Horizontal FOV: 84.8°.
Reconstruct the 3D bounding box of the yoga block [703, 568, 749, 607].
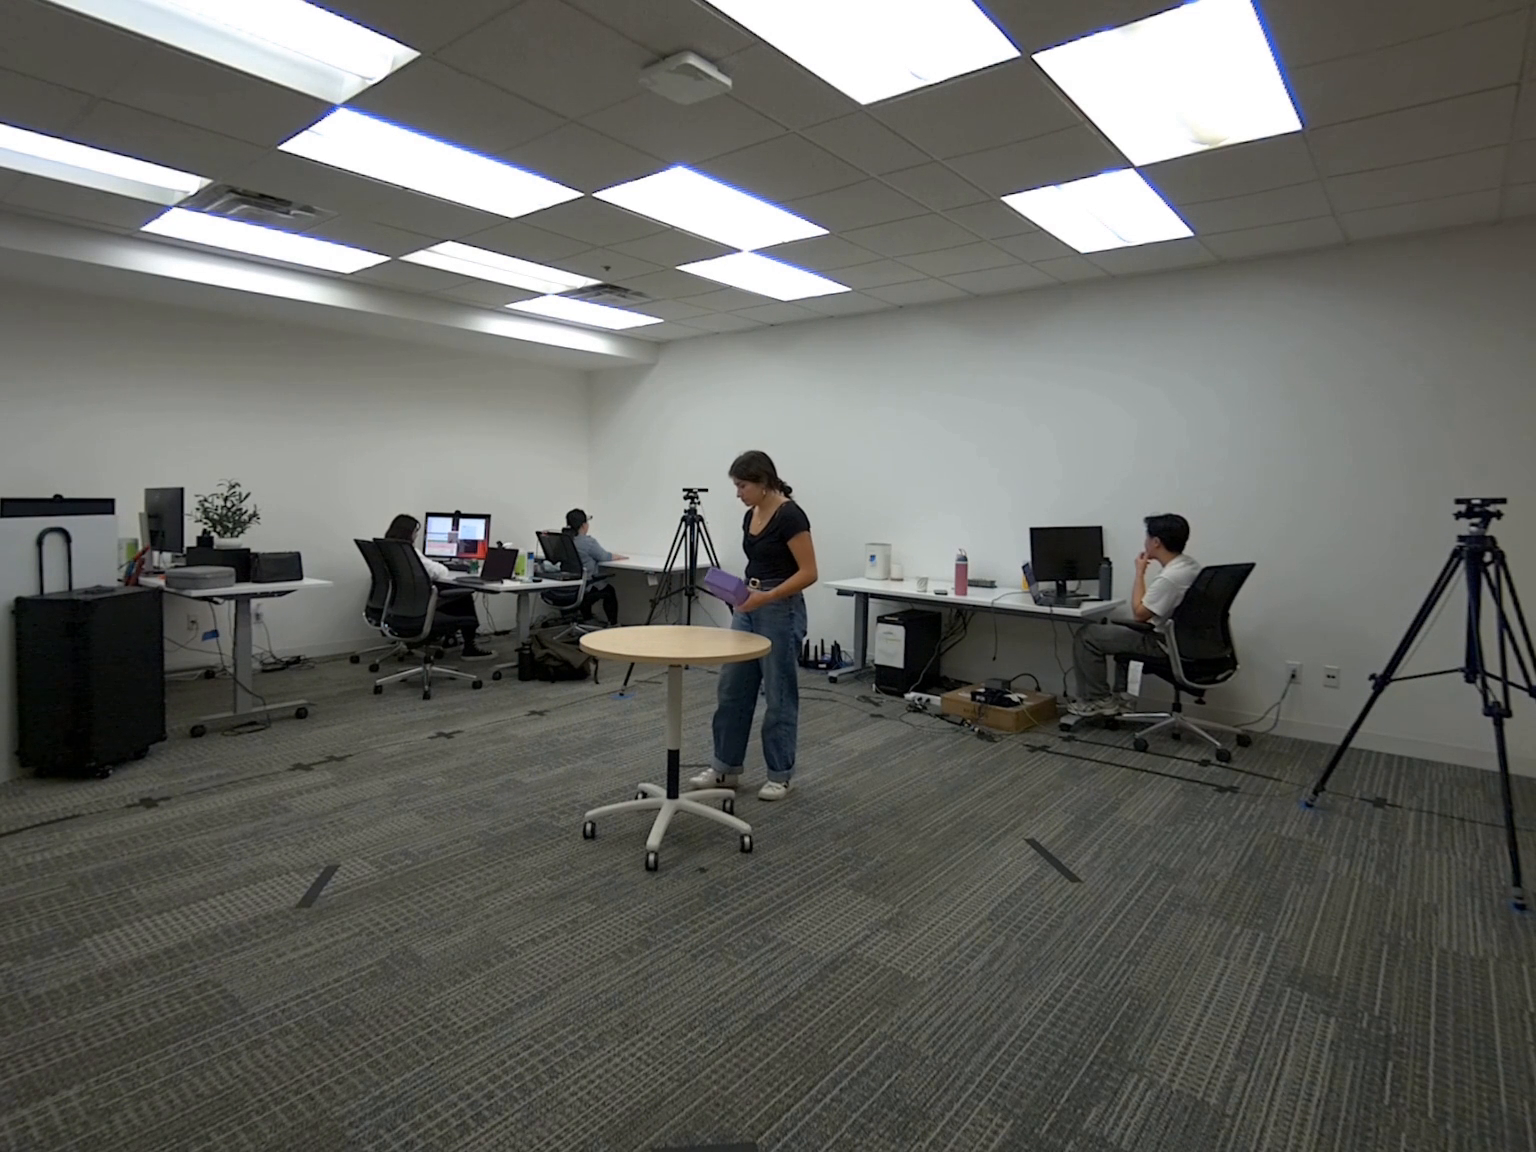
[{"bbox_3d":[-0.187,0.040,3.612,0.153,0.077,0.223,23,-11,18],"label":"yoga block"}]
